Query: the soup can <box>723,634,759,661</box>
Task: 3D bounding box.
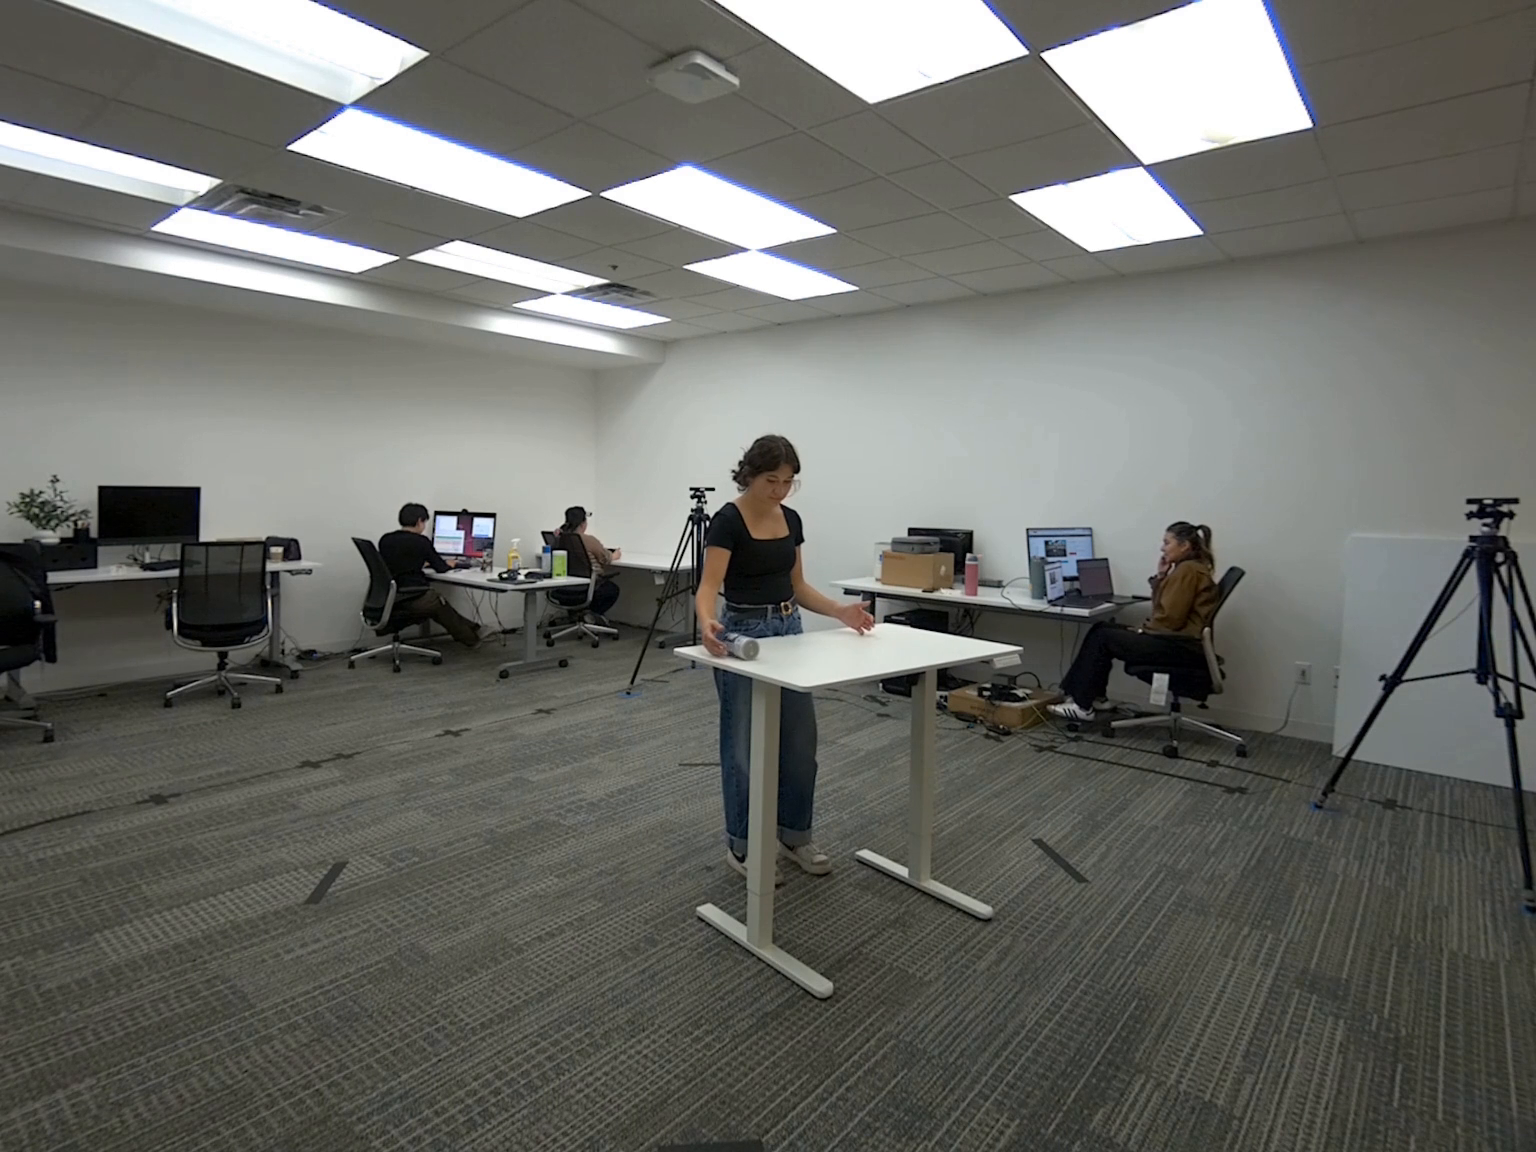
[{"bbox_3d":[-0.089,0.207,2.559,0.065,0.067,0.125,-1,5,-26],"label":"soup can"}]
